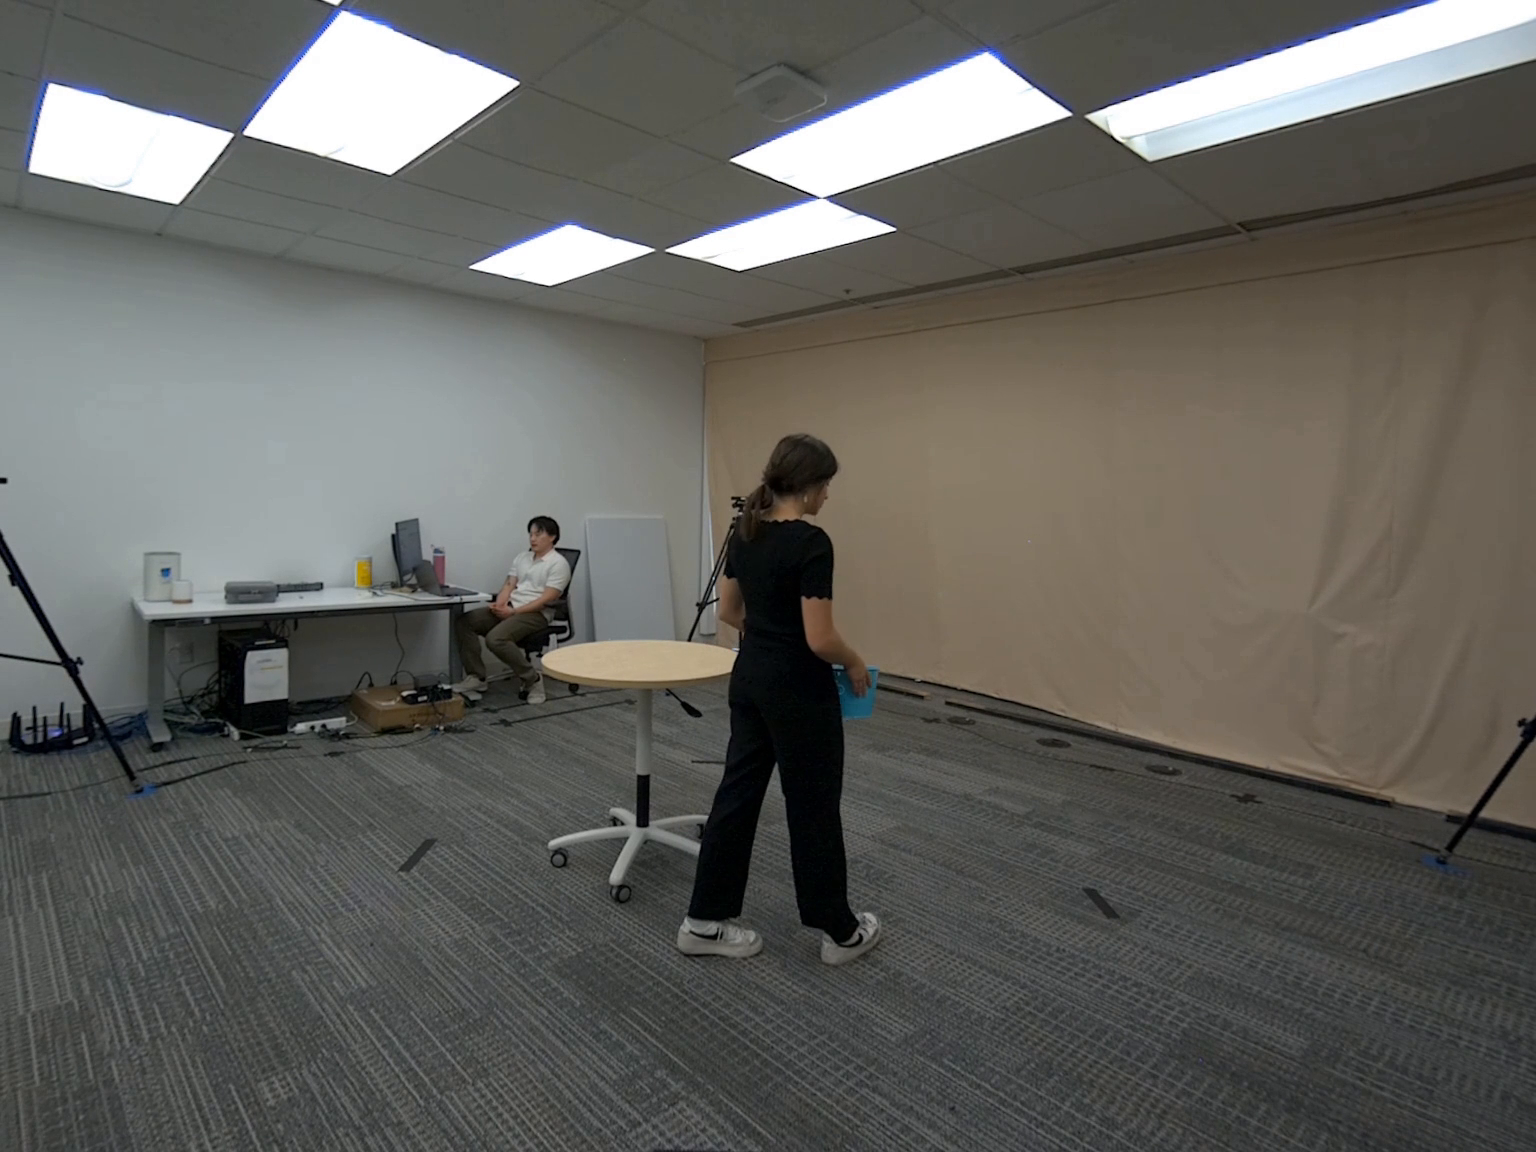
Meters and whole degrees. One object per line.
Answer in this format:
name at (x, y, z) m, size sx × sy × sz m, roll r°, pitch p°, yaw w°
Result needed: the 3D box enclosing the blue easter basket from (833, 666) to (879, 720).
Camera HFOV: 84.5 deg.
blue easter basket at (0.238, 0.371, 2.681) m, size 0.243 × 0.156 × 0.243 m, roll 1°, pitch -1°, yaw -1°
